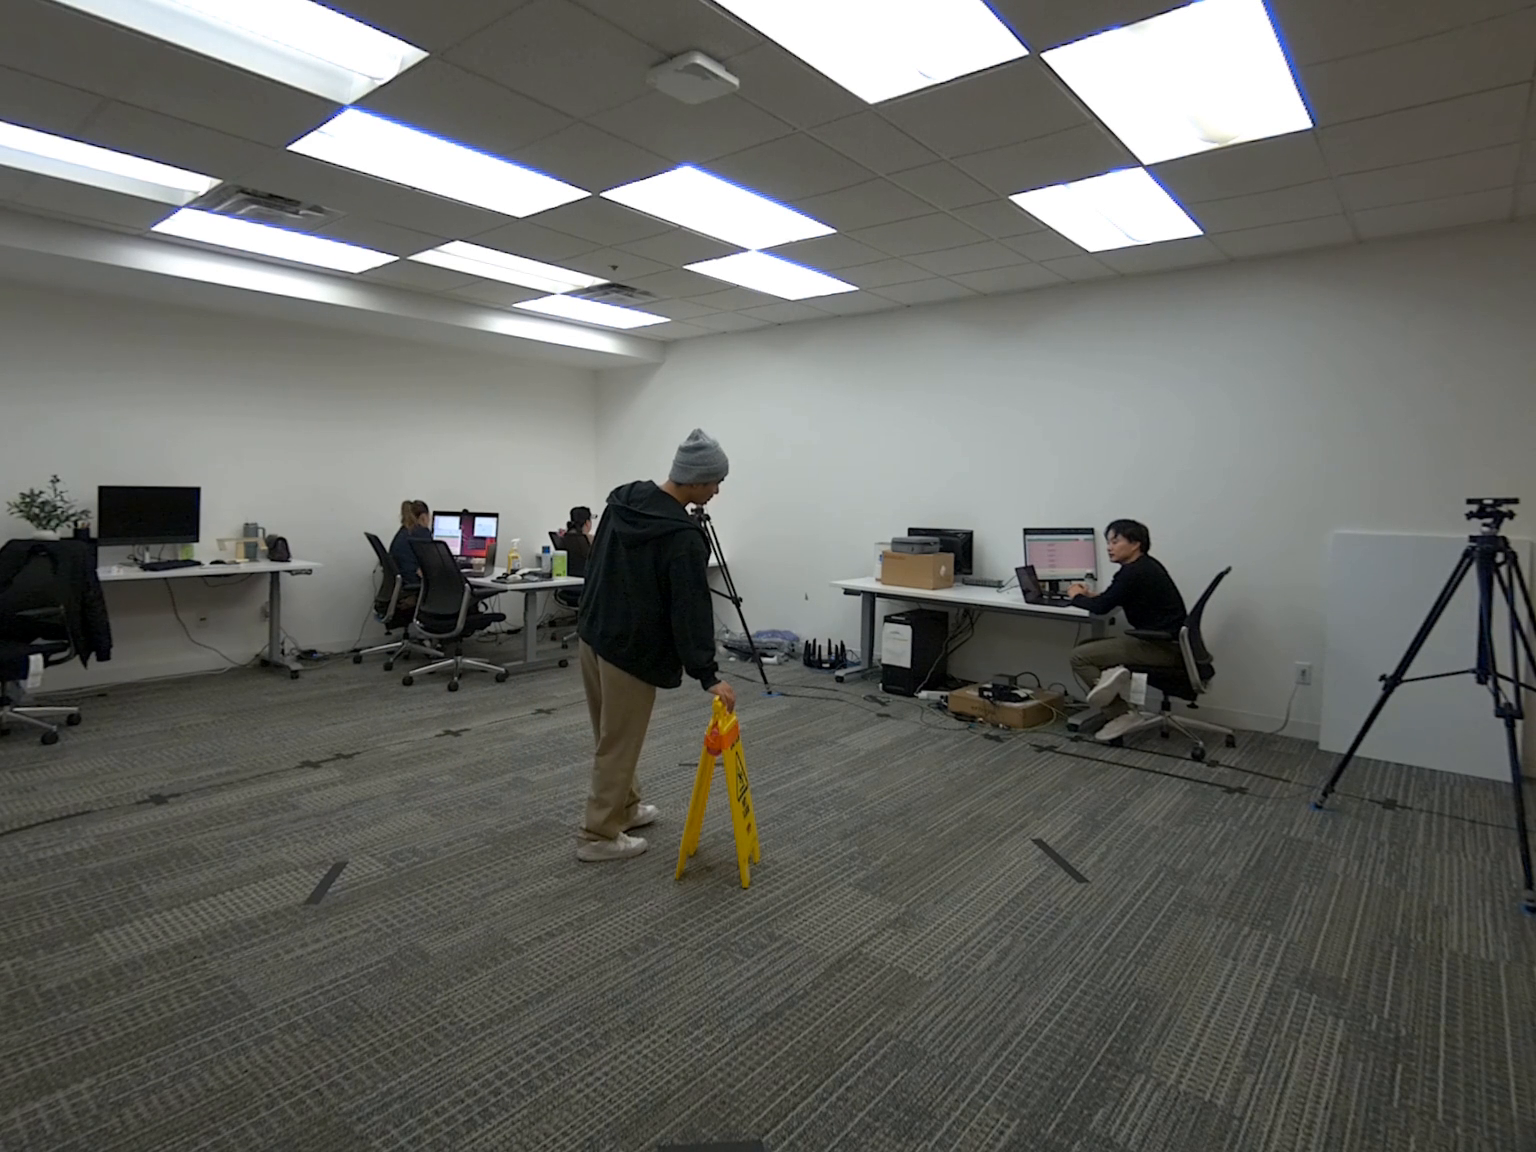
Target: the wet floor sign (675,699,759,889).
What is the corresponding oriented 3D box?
[{"bbox_3d":[-0.177,0.741,3.094,0.294,0.643,0.280,3,5,11],"label":"wet floor sign"}]
